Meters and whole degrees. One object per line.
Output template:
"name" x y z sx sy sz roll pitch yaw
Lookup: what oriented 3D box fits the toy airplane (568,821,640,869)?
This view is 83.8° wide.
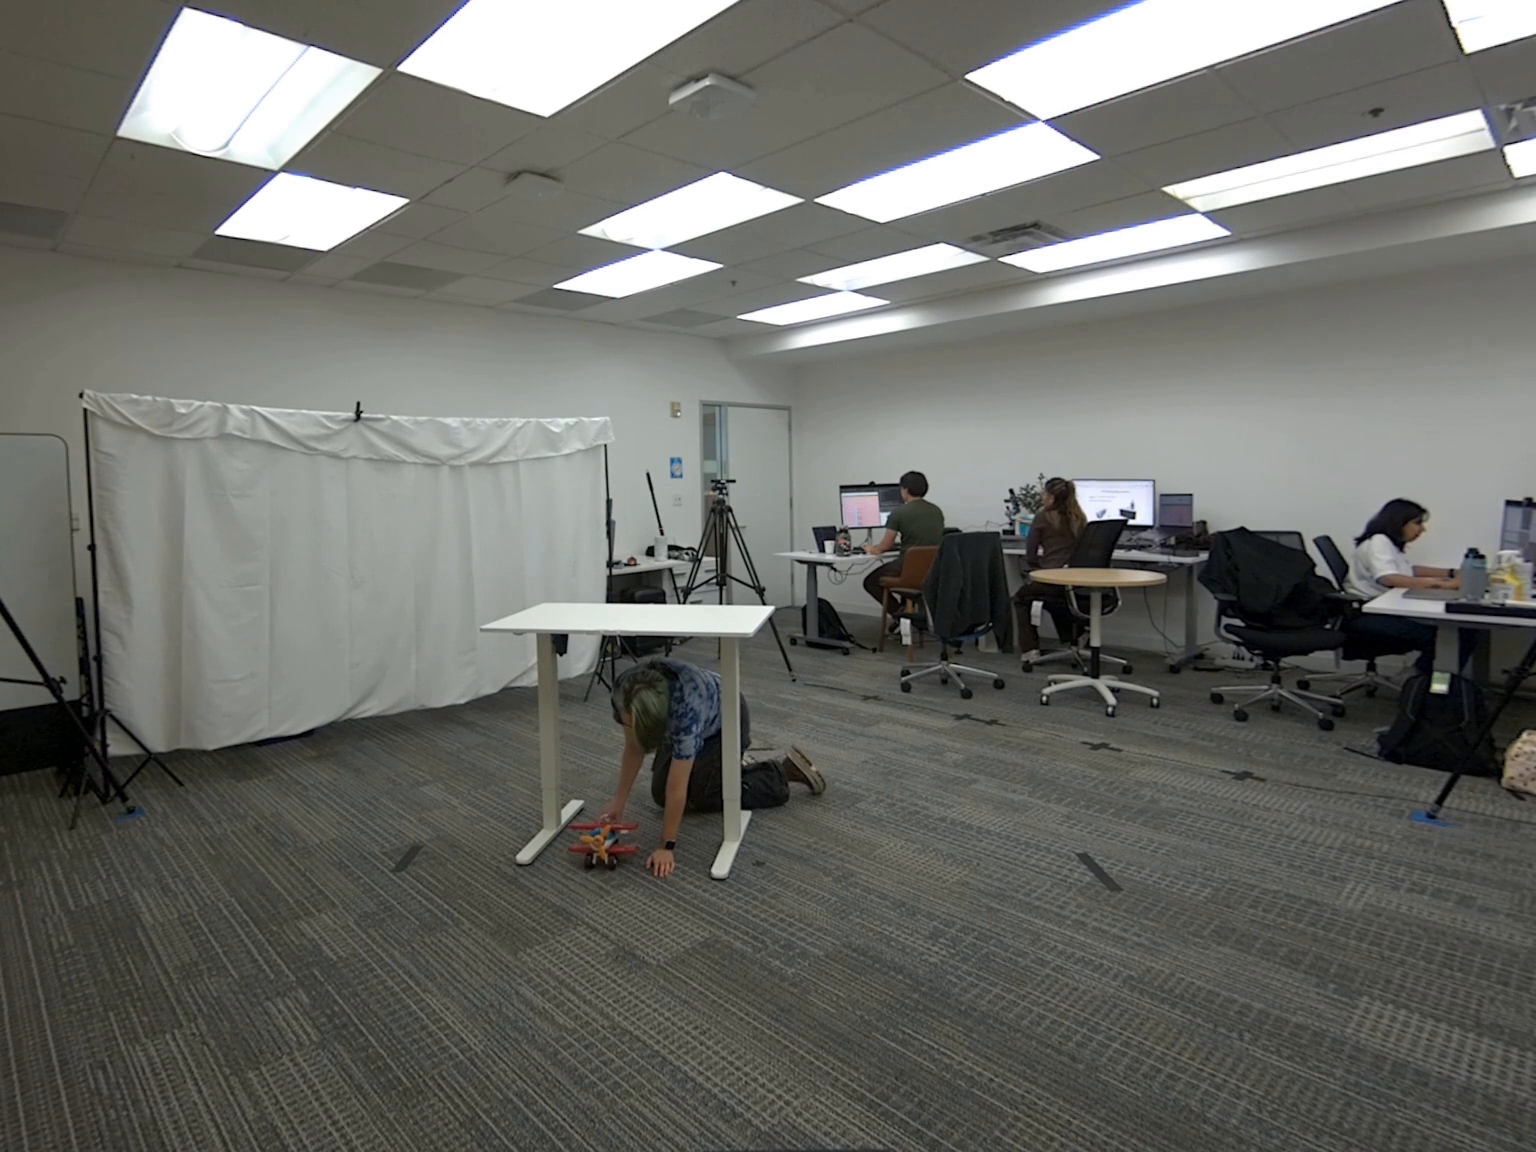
"toy airplane" -0.623 0.979 3.171 0.246 0.155 0.266 -4 7 -25
